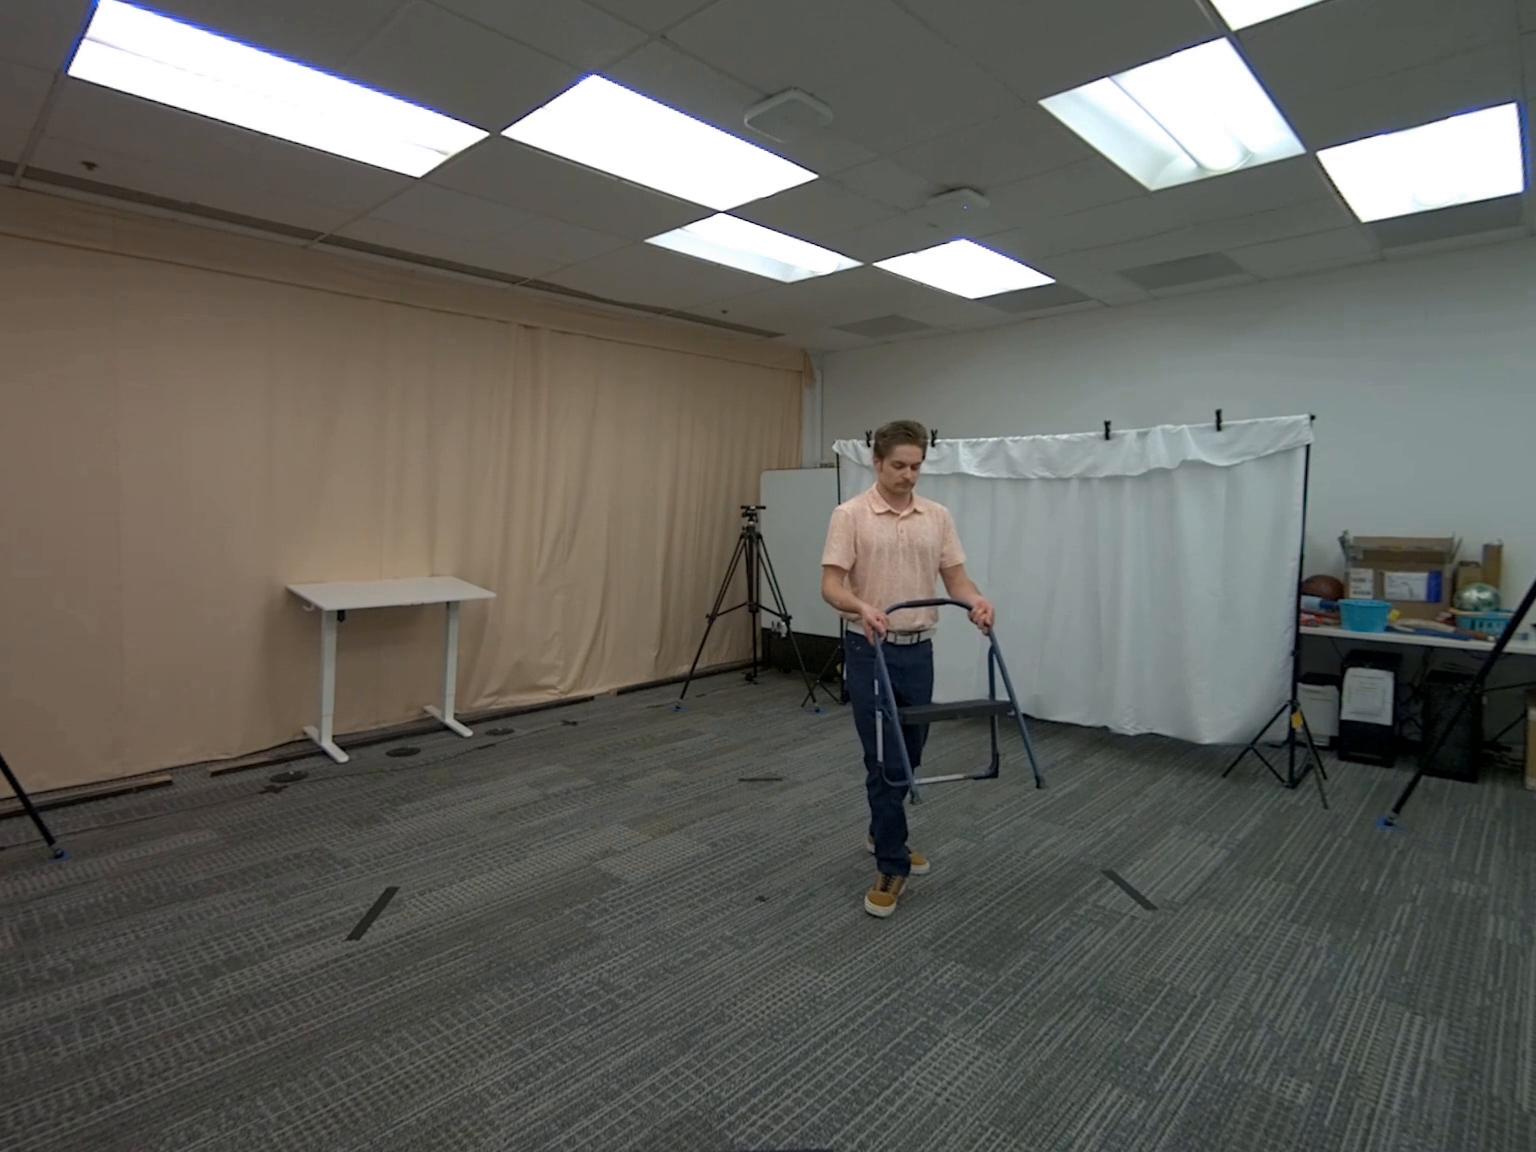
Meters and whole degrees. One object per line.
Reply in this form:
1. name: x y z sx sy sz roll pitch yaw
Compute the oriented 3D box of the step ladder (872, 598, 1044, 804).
1. step ladder: 0.573 0.373 2.694 0.426 0.610 0.350 -5 -8 -10
